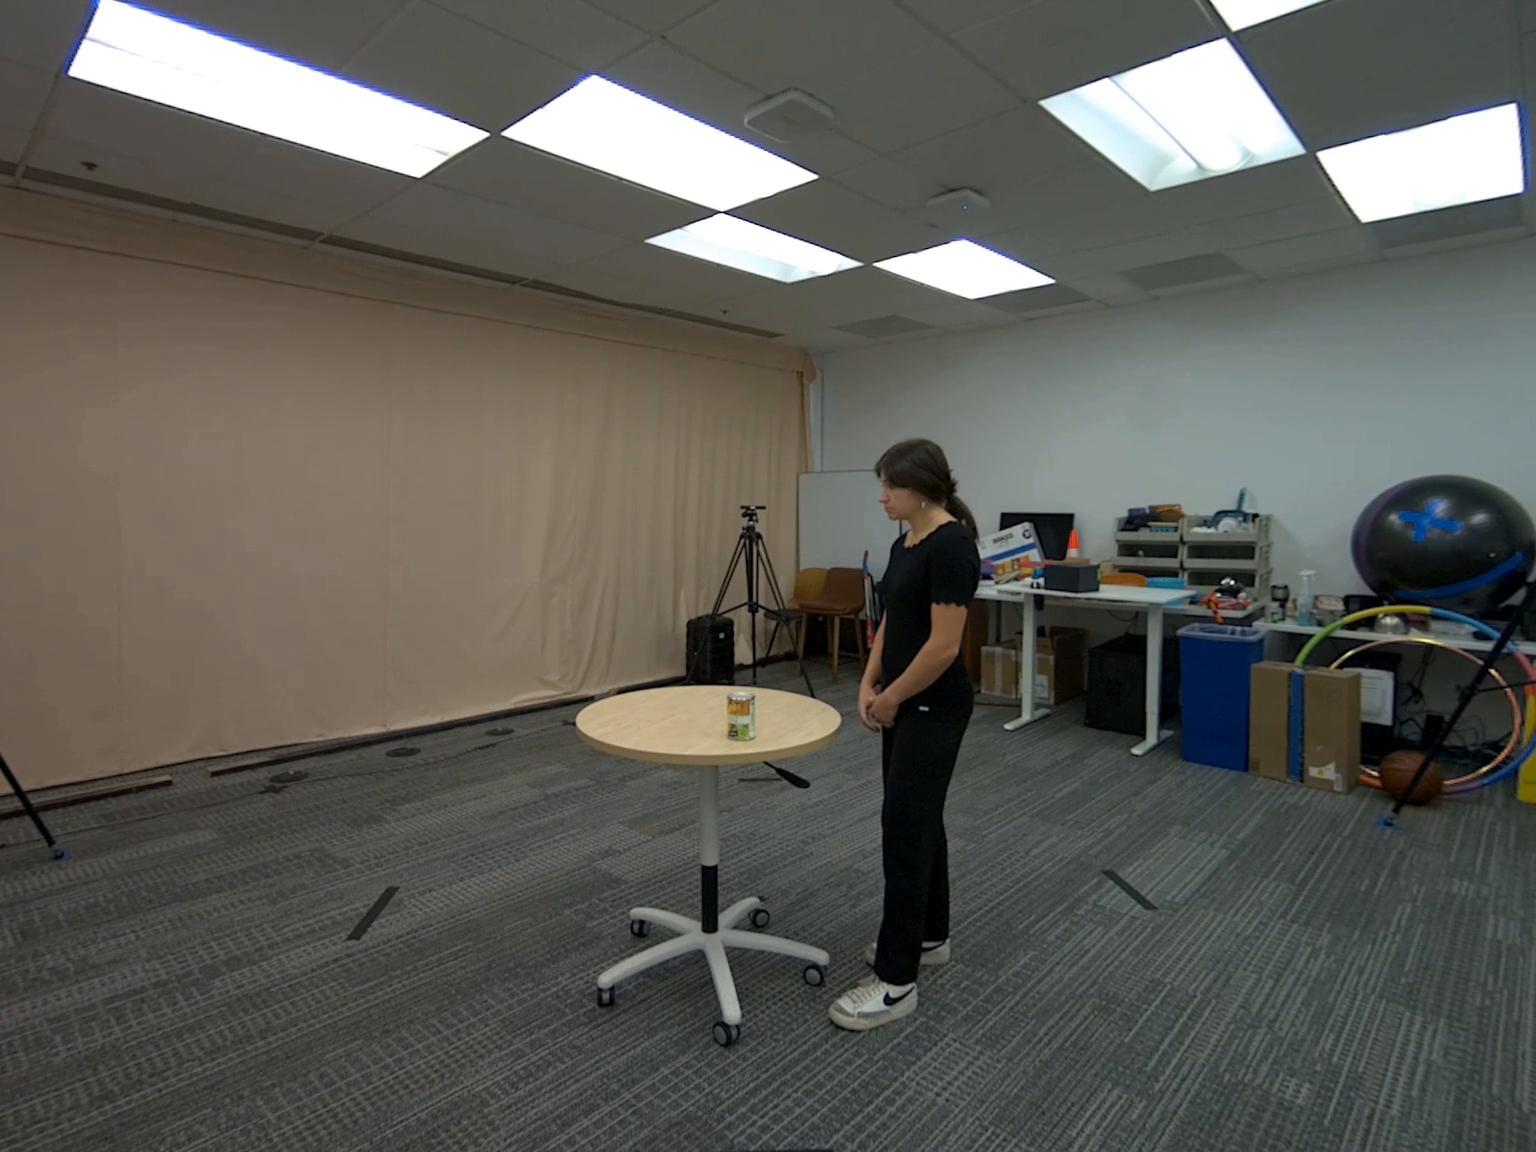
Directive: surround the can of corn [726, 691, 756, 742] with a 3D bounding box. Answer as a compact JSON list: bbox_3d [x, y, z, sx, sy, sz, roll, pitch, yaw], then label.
[{"bbox_3d":[-0.064,0.373,2.225,0.074,0.111,0.074,0,3,-2],"label":"can of corn"}]
